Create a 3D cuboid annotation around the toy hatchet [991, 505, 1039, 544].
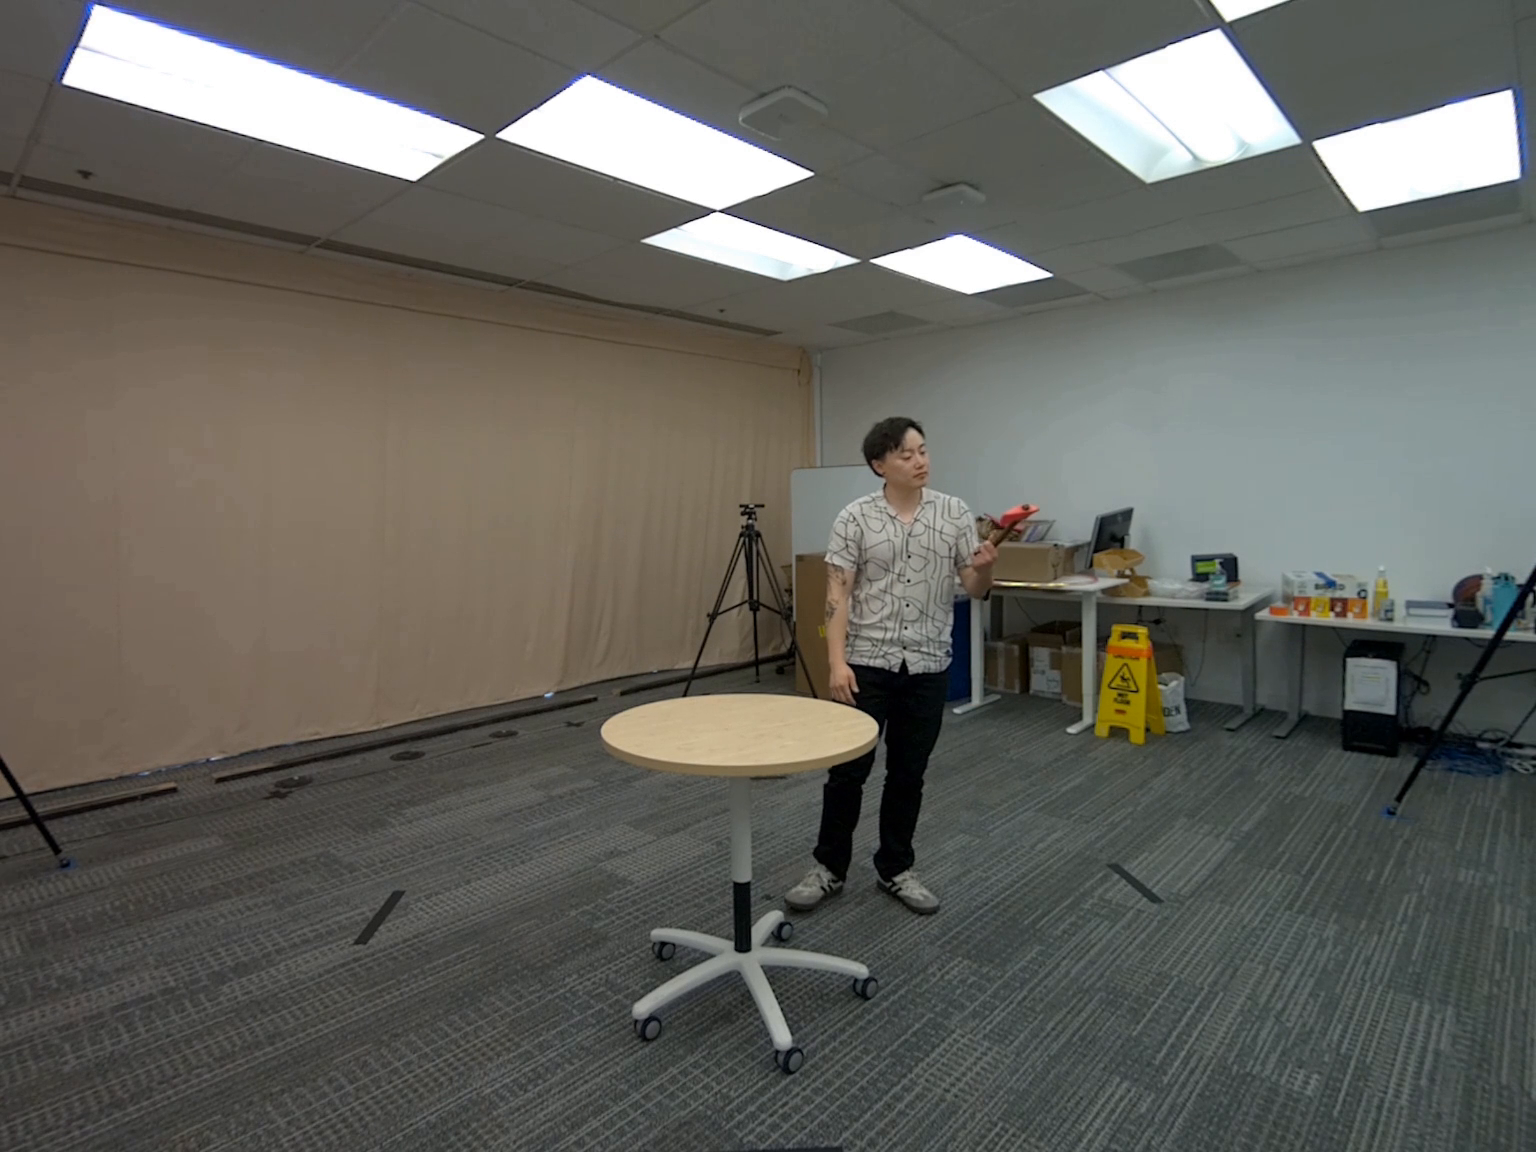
[{"bbox_3d":[0.686,-0.130,2.540,0.127,0.030,0.272,1,-35,-44],"label":"toy hatchet"}]
